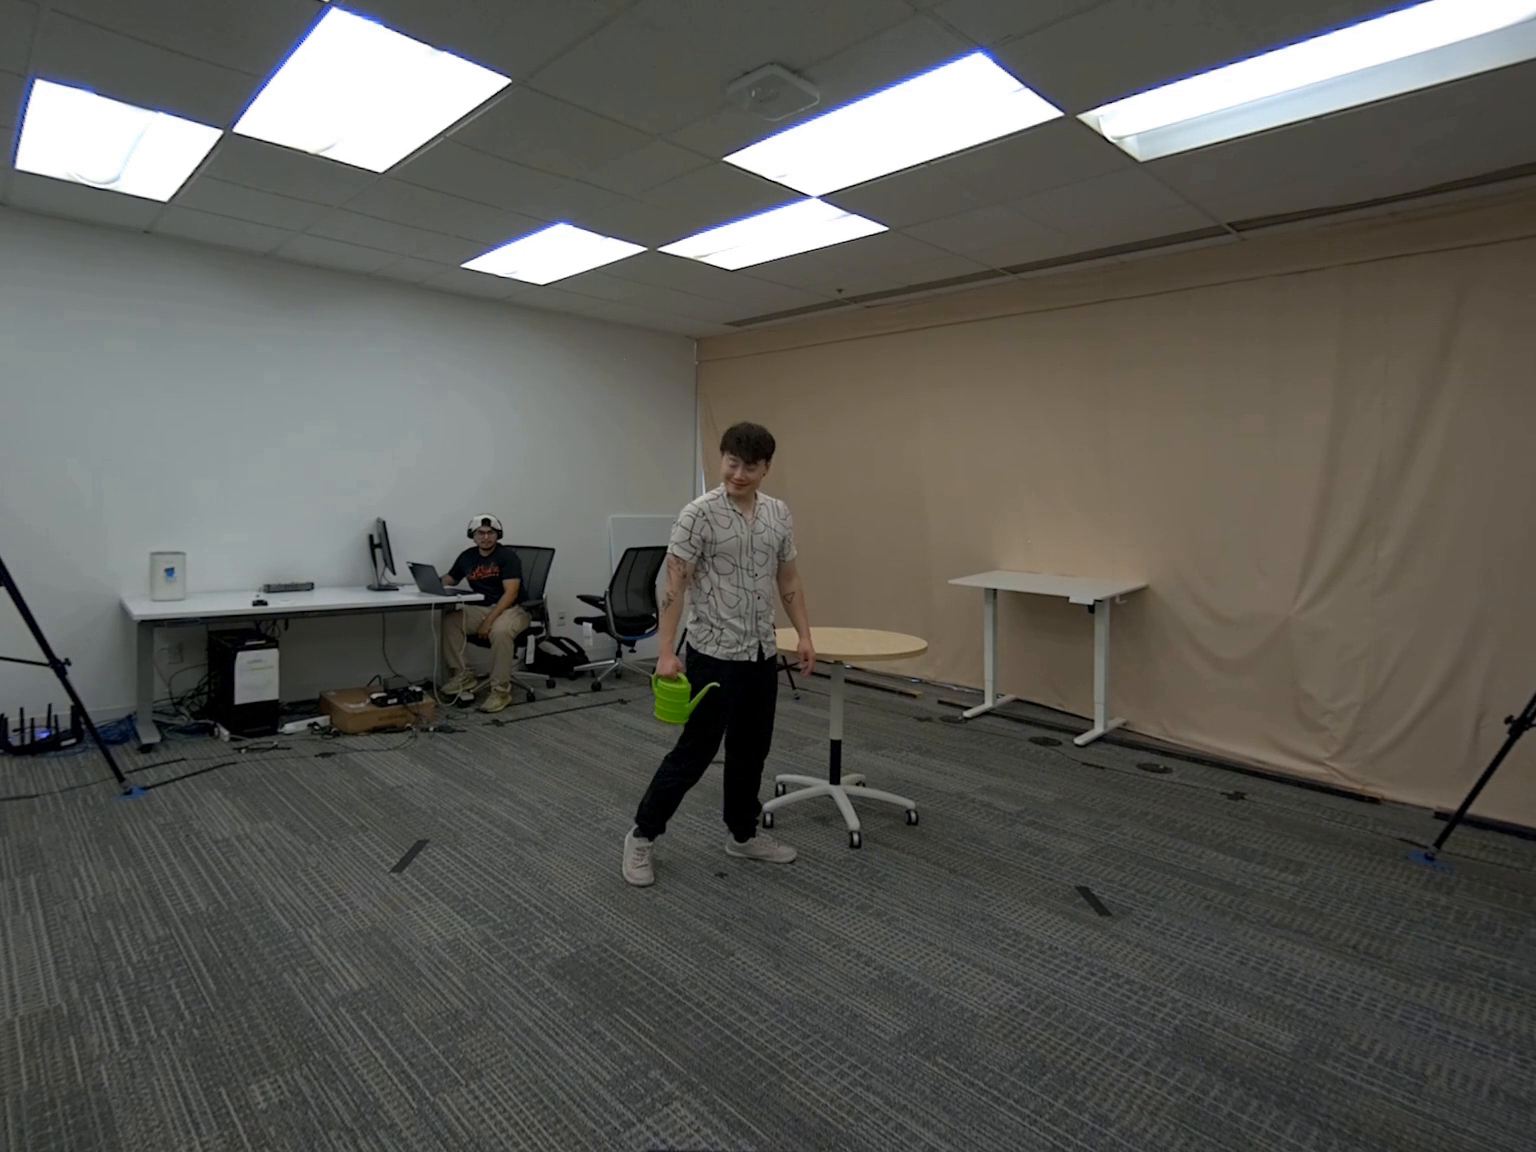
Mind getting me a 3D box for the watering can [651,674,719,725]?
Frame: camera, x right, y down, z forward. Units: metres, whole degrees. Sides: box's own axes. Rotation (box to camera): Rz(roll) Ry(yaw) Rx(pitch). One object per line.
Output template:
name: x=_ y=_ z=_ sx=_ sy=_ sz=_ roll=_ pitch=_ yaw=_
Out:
watering can: x=-0.309 y=0.424 z=2.904 sx=0.096 sy=0.176 sz=0.286 roll=-2 pitch=10 yaw=-42
